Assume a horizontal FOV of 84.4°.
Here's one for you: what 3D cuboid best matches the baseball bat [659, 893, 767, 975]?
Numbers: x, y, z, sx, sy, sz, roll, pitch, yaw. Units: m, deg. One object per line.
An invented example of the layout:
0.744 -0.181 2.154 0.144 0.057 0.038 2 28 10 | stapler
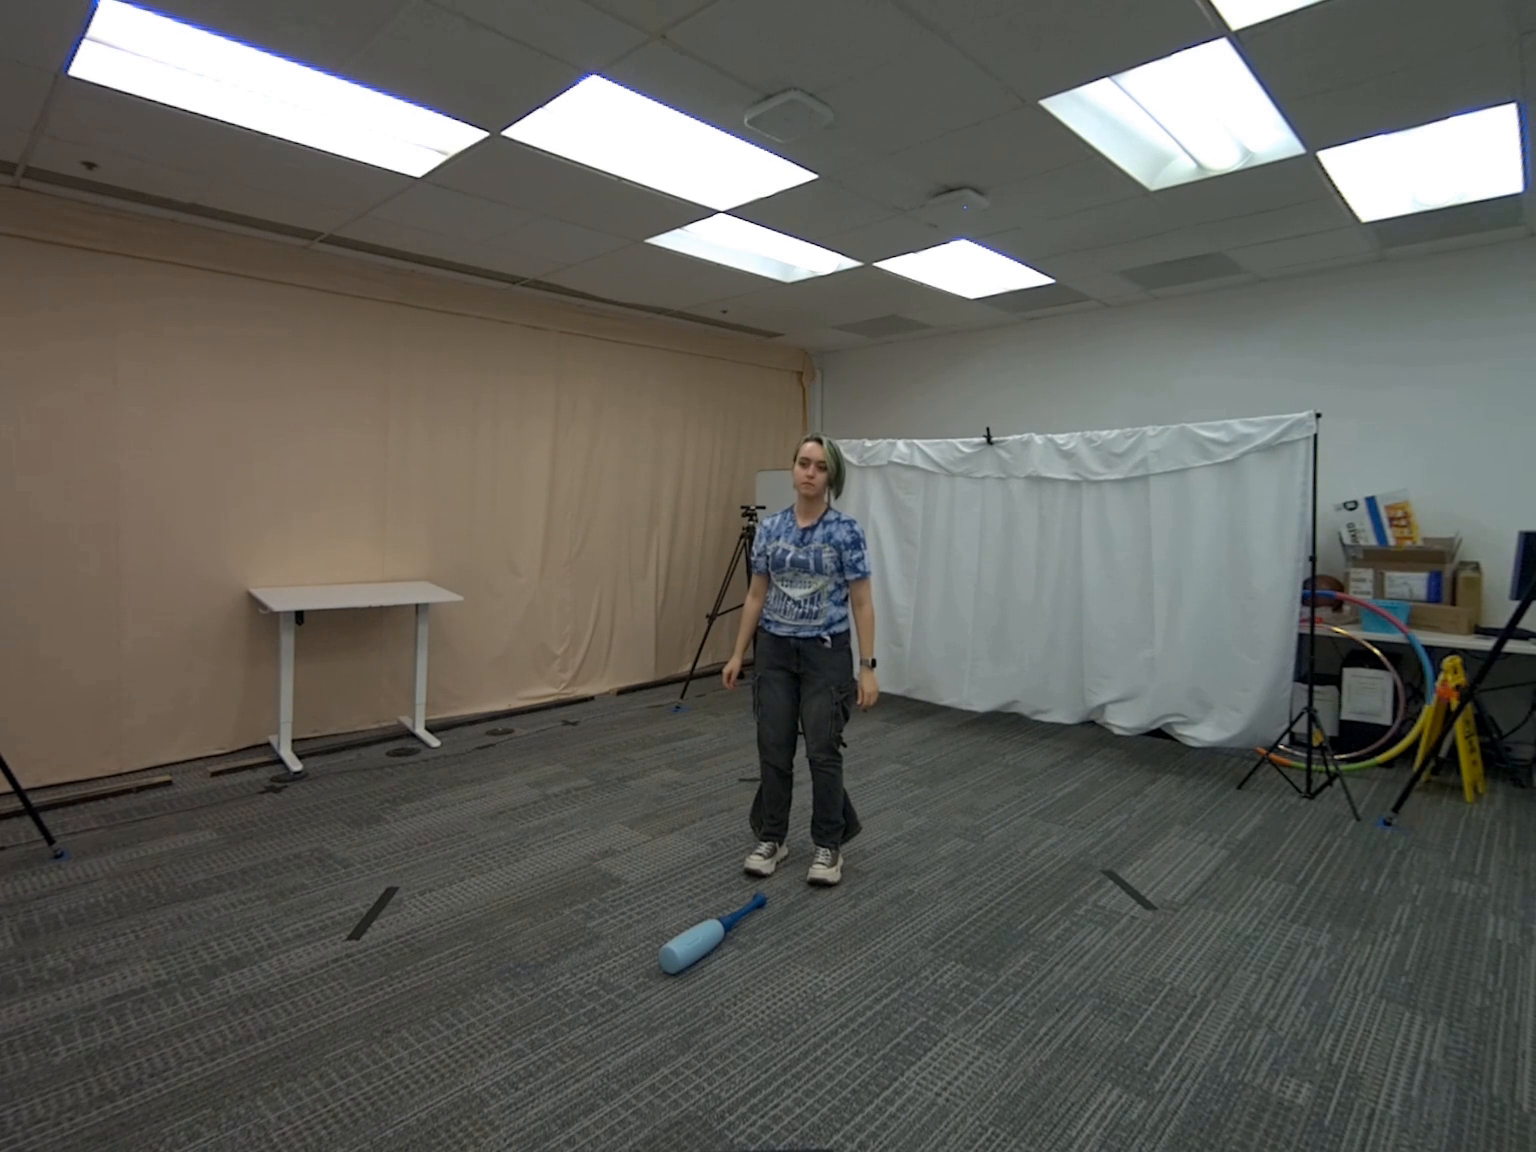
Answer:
-0.153 1.137 2.703 0.092 0.089 0.527 2 2 32 | baseball bat
